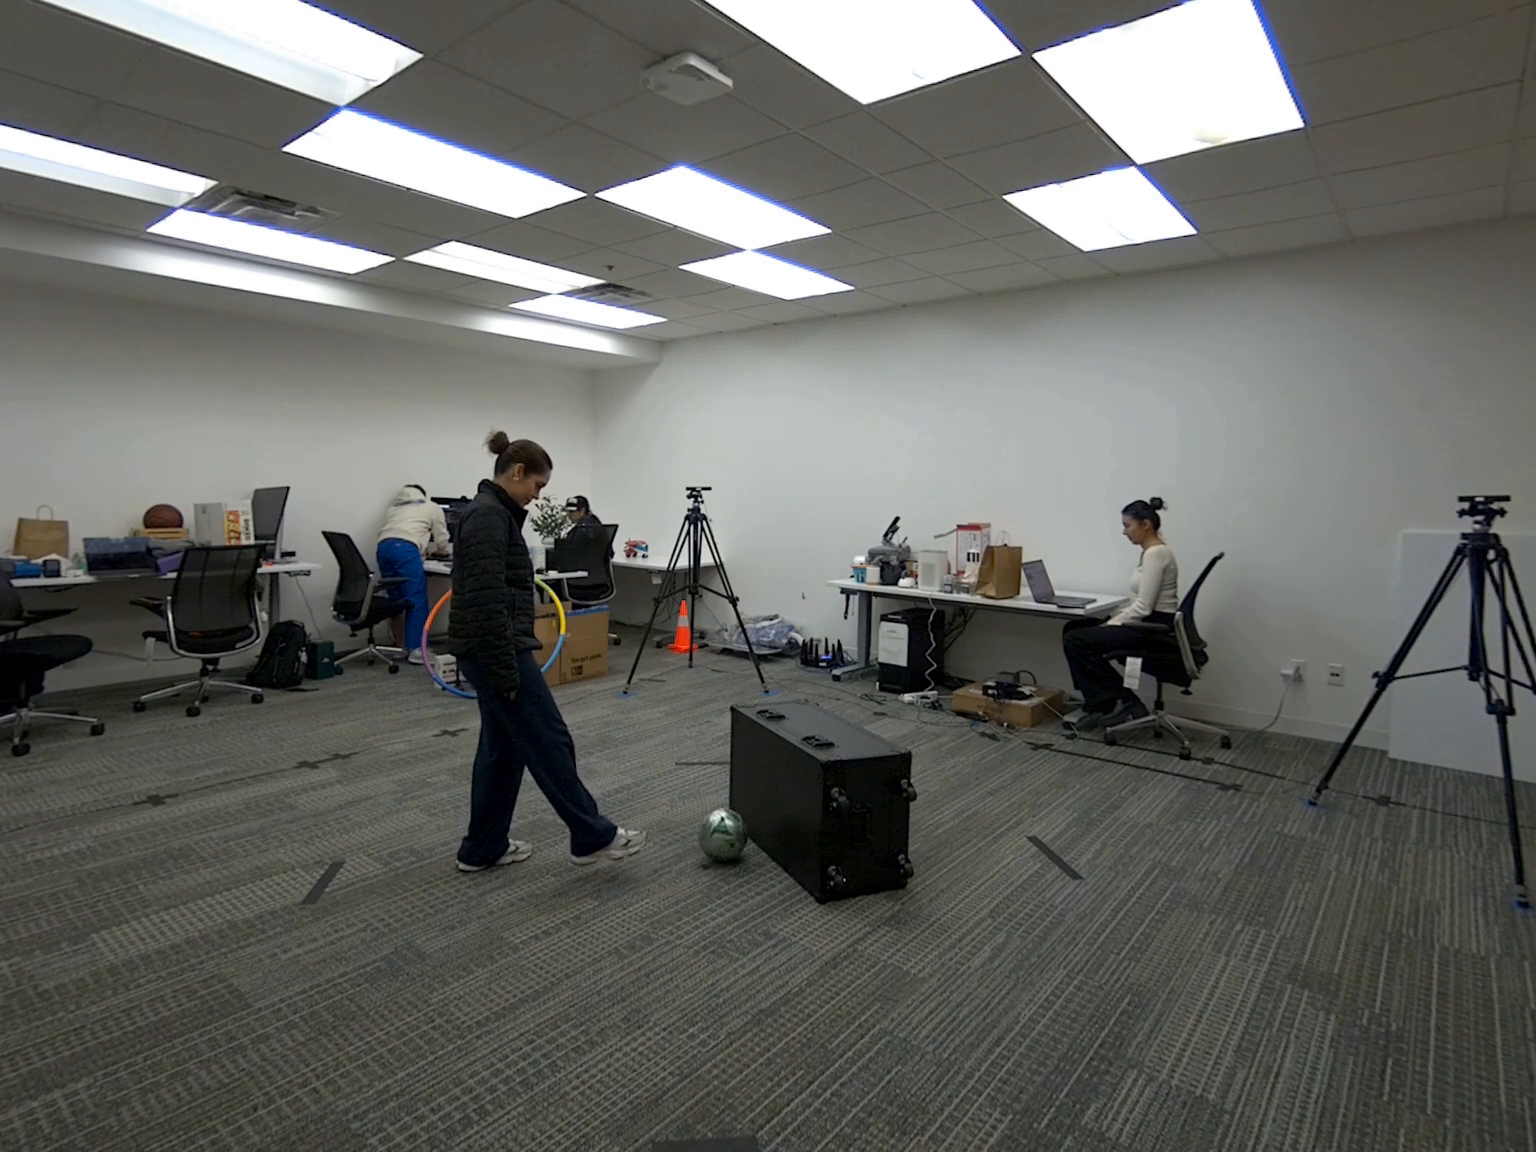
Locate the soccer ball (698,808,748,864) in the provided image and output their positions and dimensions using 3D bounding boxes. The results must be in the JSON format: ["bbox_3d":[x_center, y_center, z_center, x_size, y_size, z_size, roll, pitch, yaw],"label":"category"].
[{"bbox_3d":[-0.182,0.970,3.175,0.187,0.187,0.188,1,4,-2],"label":"soccer ball"}]
